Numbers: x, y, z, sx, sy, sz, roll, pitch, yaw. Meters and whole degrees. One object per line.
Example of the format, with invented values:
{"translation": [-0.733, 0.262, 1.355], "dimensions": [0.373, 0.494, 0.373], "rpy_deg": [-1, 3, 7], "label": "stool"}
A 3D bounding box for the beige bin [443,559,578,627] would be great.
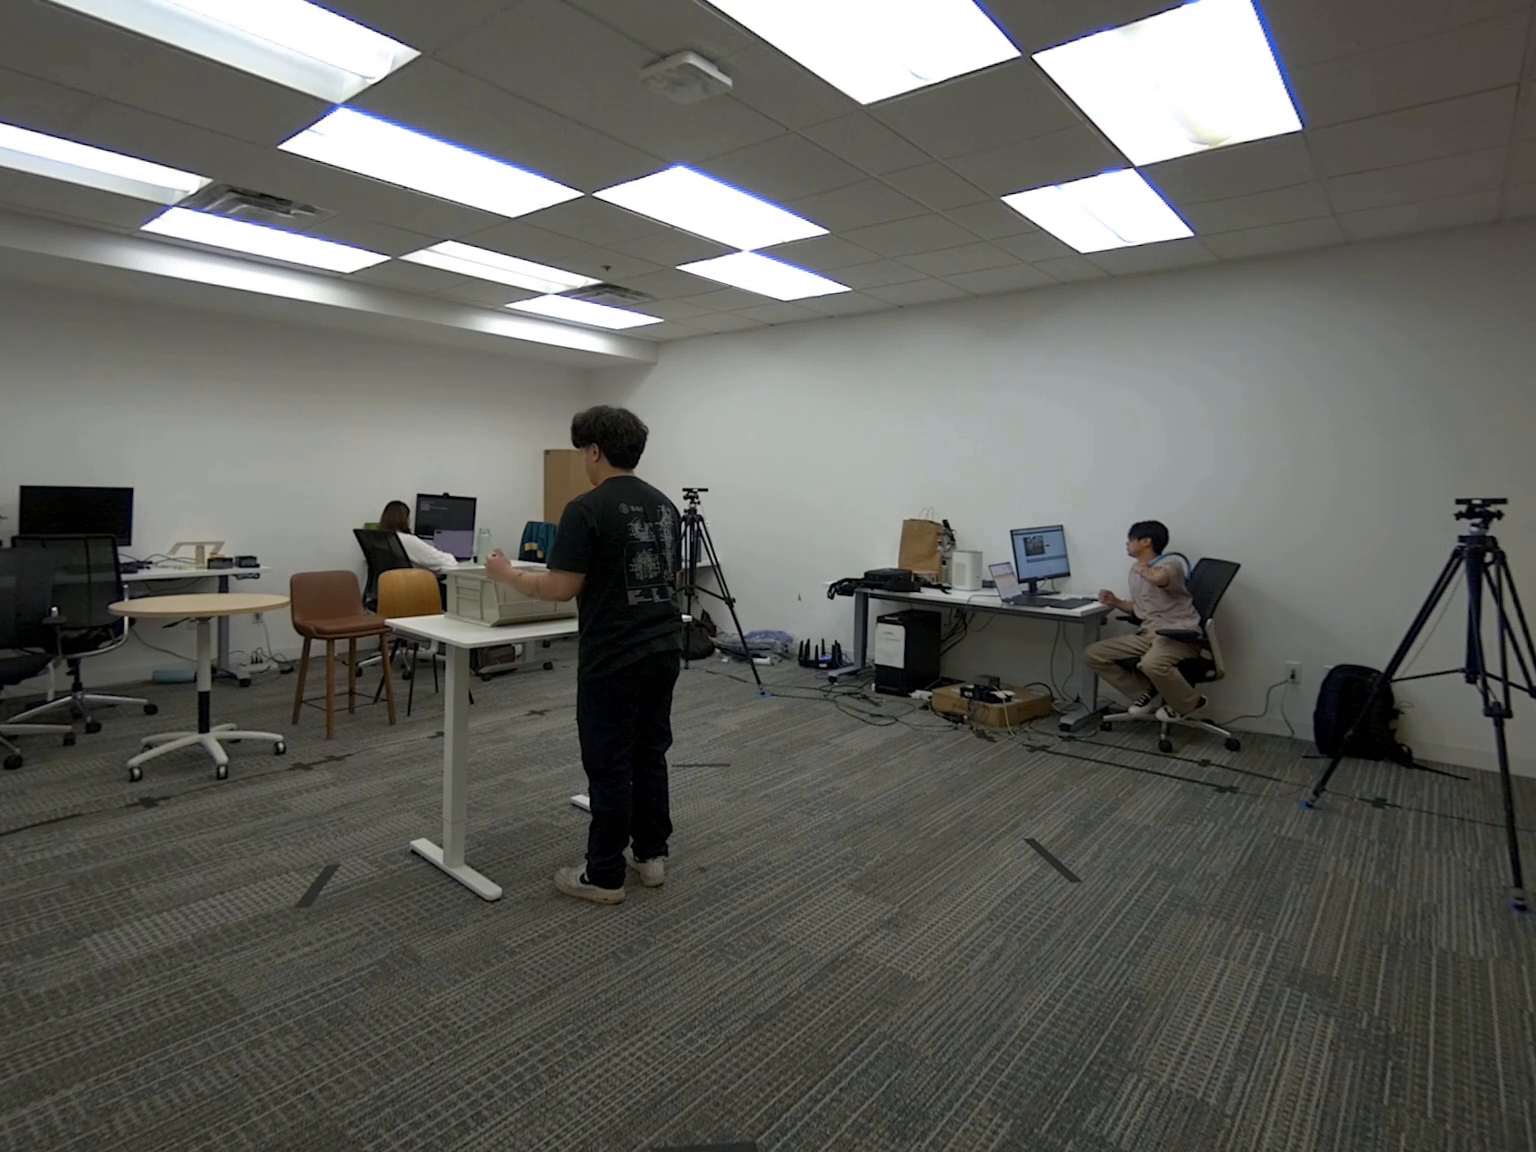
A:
{"translation": [-0.968, 0.073, 3.254], "dimensions": [0.390, 0.188, 0.410], "rpy_deg": [5, 6, 41], "label": "beige bin"}
